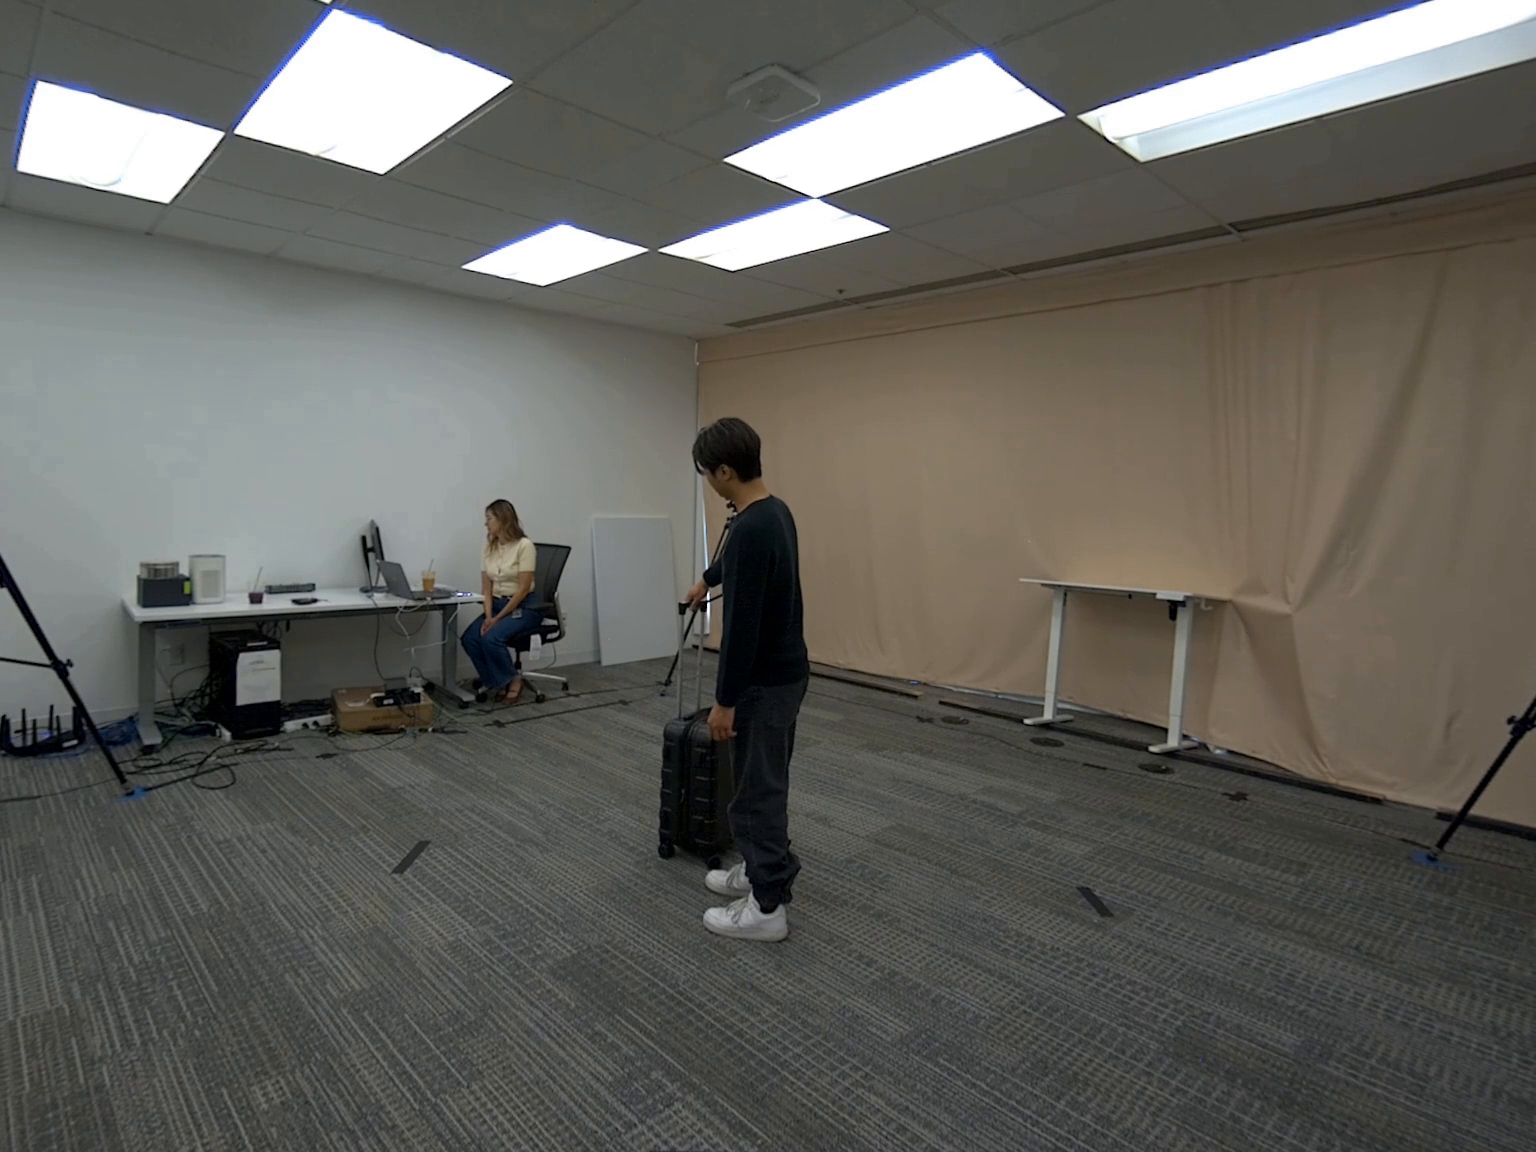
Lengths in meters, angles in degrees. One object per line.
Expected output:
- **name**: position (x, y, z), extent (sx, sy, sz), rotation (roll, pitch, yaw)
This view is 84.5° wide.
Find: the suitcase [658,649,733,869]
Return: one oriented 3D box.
- **suitcase**: position (-0.234, 0.609, 3.312), extent (0.262, 0.975, 0.377), rotation (6, 5, 26)
